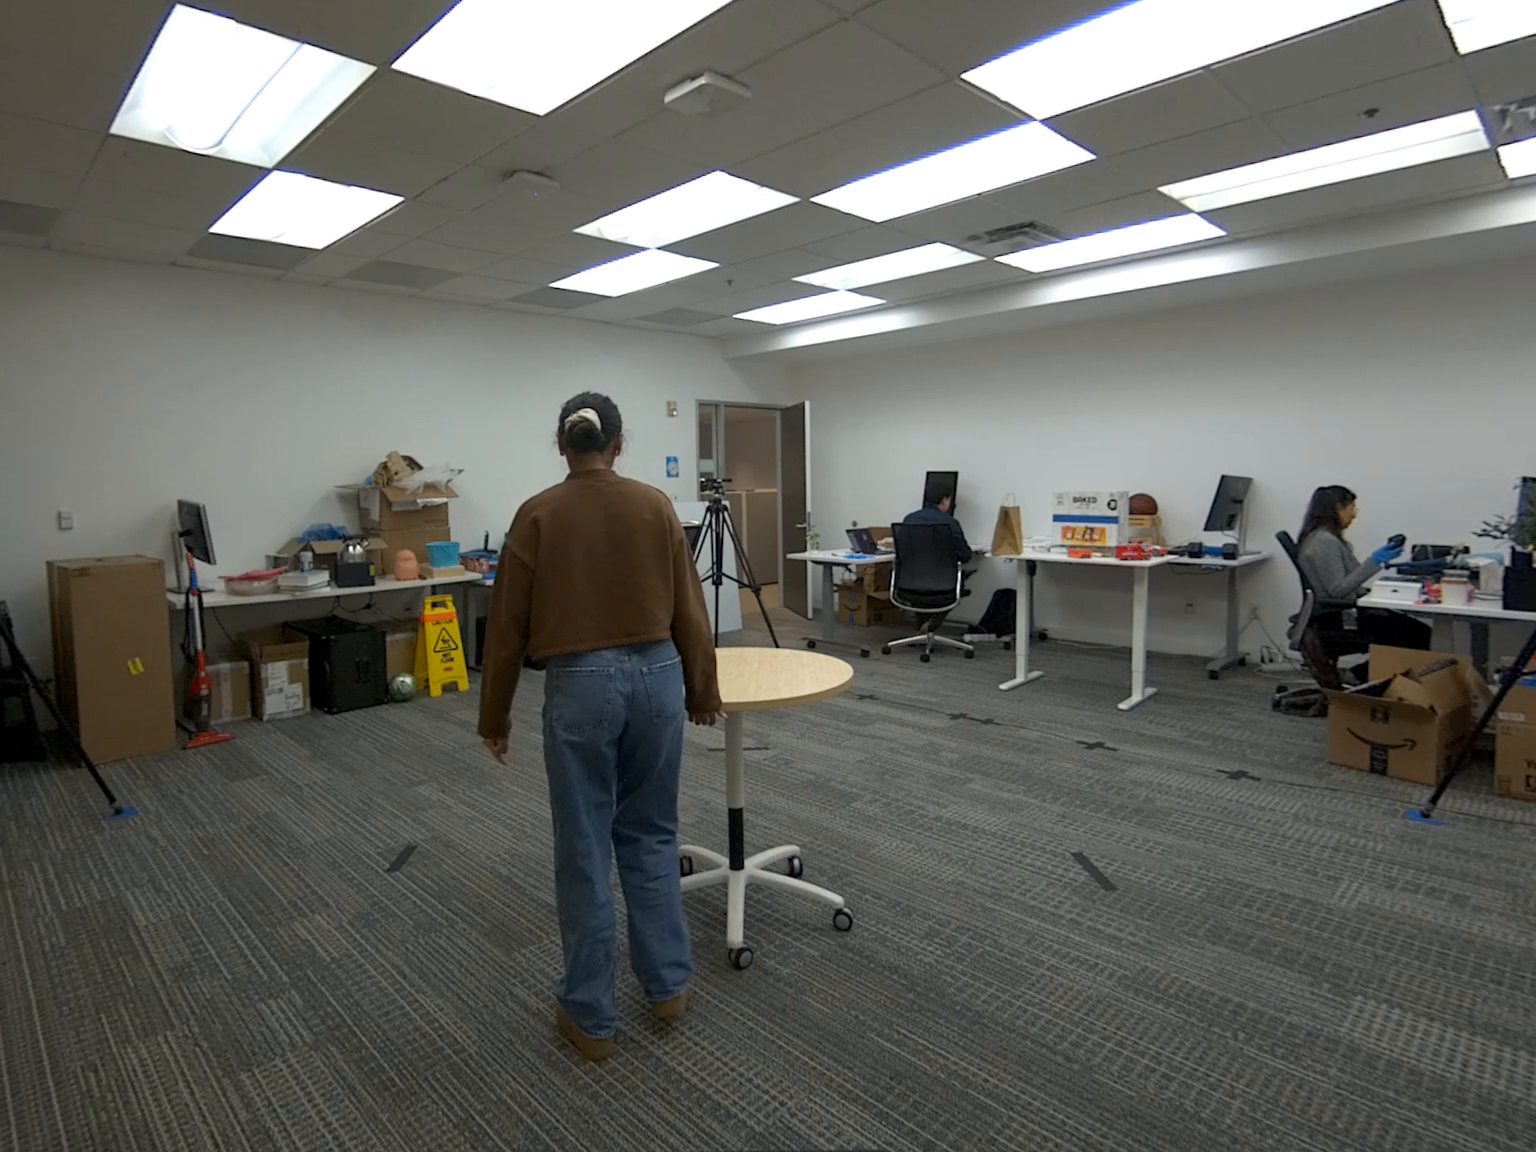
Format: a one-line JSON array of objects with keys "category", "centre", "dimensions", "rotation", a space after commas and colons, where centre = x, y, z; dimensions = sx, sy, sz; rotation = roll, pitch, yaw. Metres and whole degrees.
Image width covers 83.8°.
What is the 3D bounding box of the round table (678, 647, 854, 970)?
[{"category": "round table", "centre": [-0.101, 0.696, 2.755], "dimensions": [0.763, 0.791, 0.768], "rotation": [-1, 5, -2]}]
